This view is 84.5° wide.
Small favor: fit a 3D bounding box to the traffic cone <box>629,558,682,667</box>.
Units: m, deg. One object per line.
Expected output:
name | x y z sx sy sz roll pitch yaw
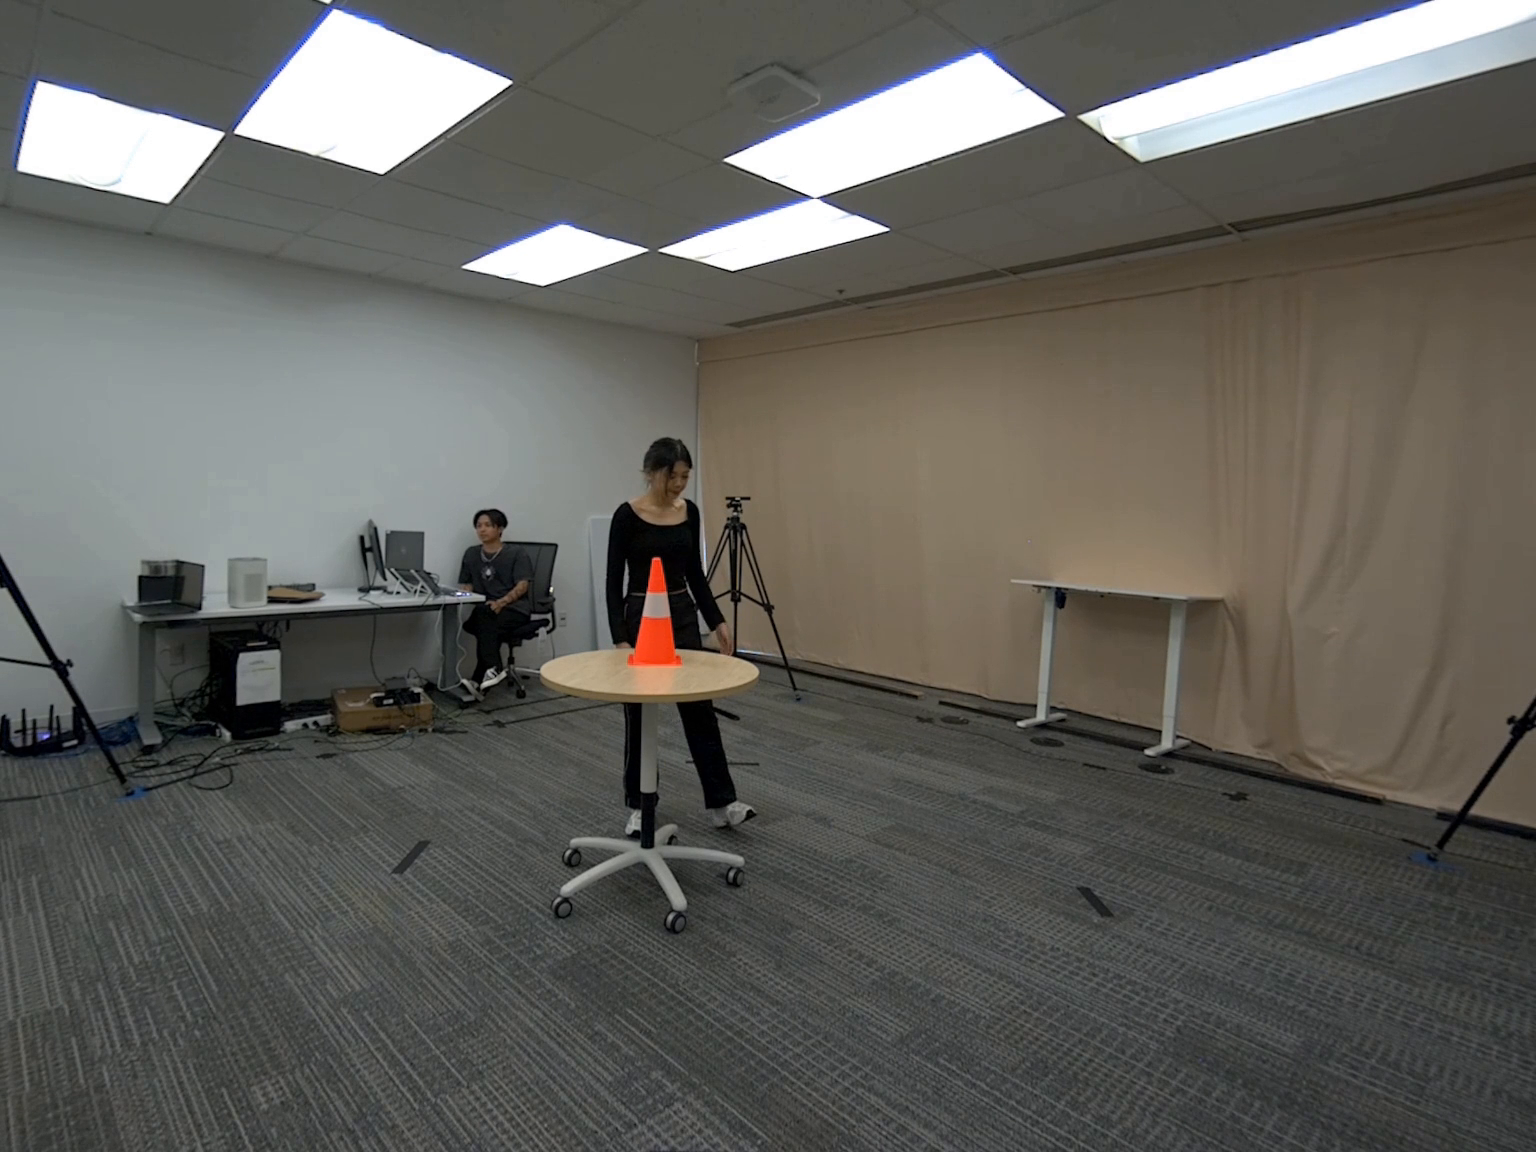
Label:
traffic cone | -0.433 0.127 3.110 0.204 0.382 0.205 0 4 -8
